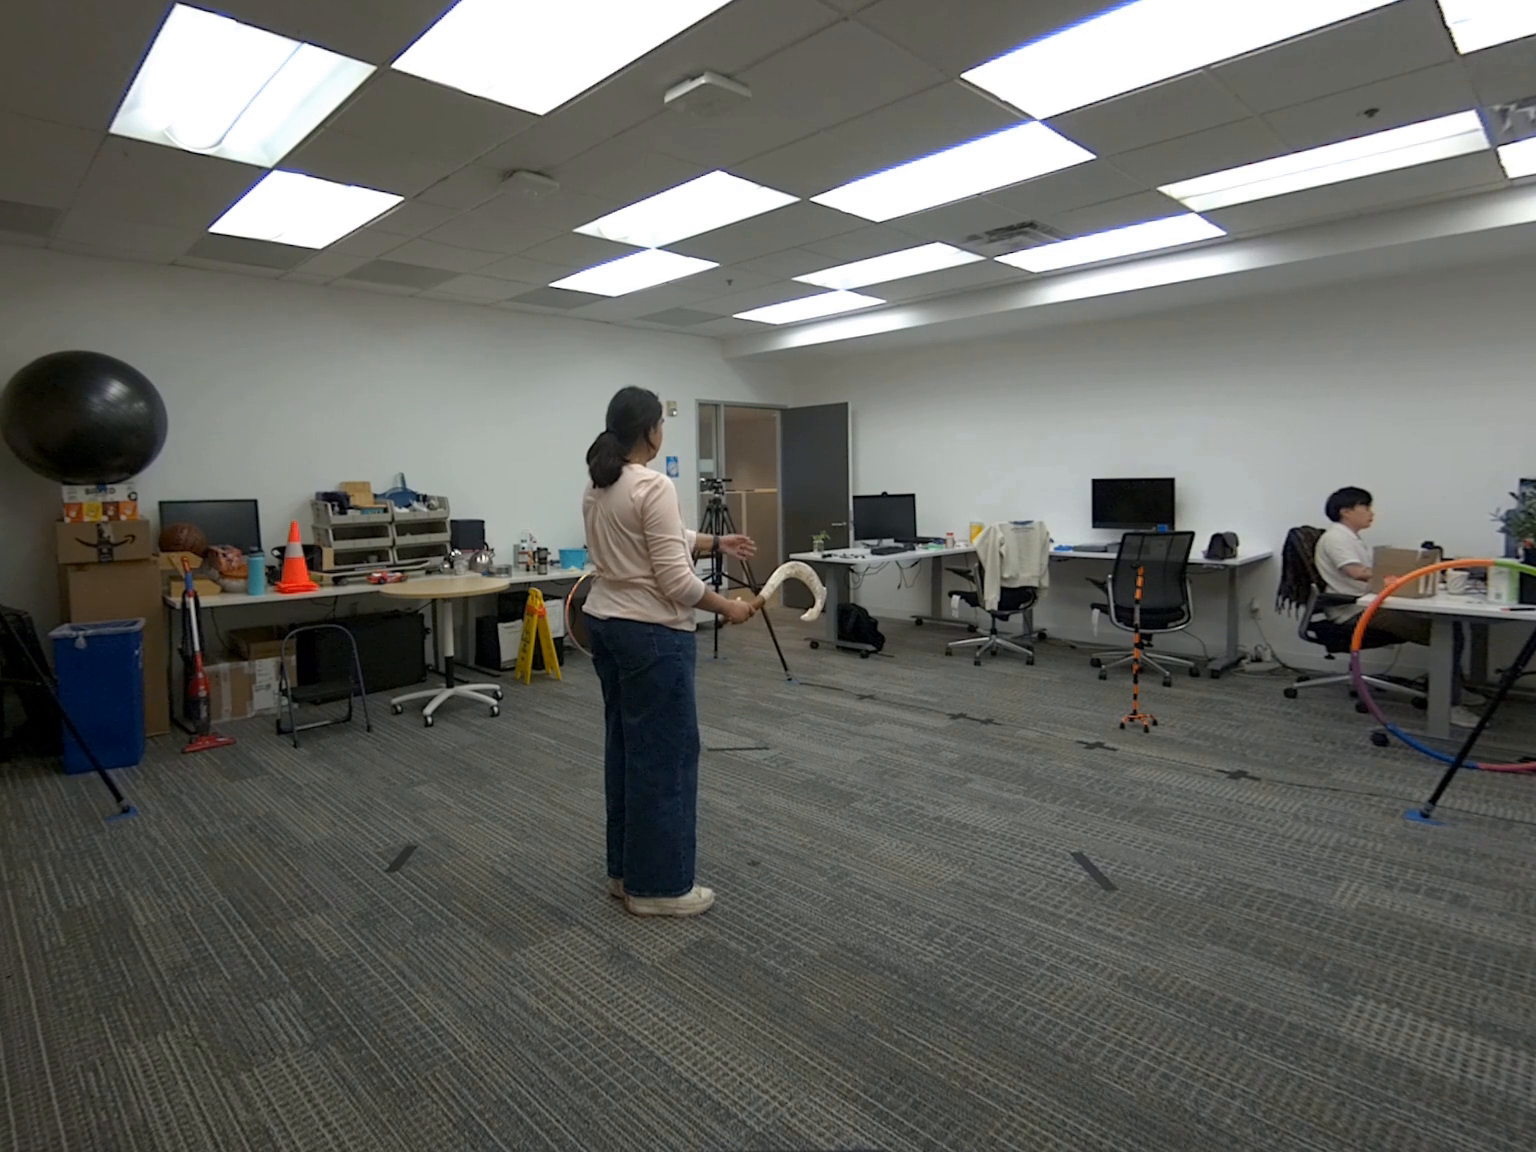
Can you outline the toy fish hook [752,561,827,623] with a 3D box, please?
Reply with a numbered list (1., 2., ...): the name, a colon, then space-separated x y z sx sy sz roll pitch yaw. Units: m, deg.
1. toy fish hook: 0.040 0.104 2.986 0.500 0.228 0.048 -31 -13 -44
